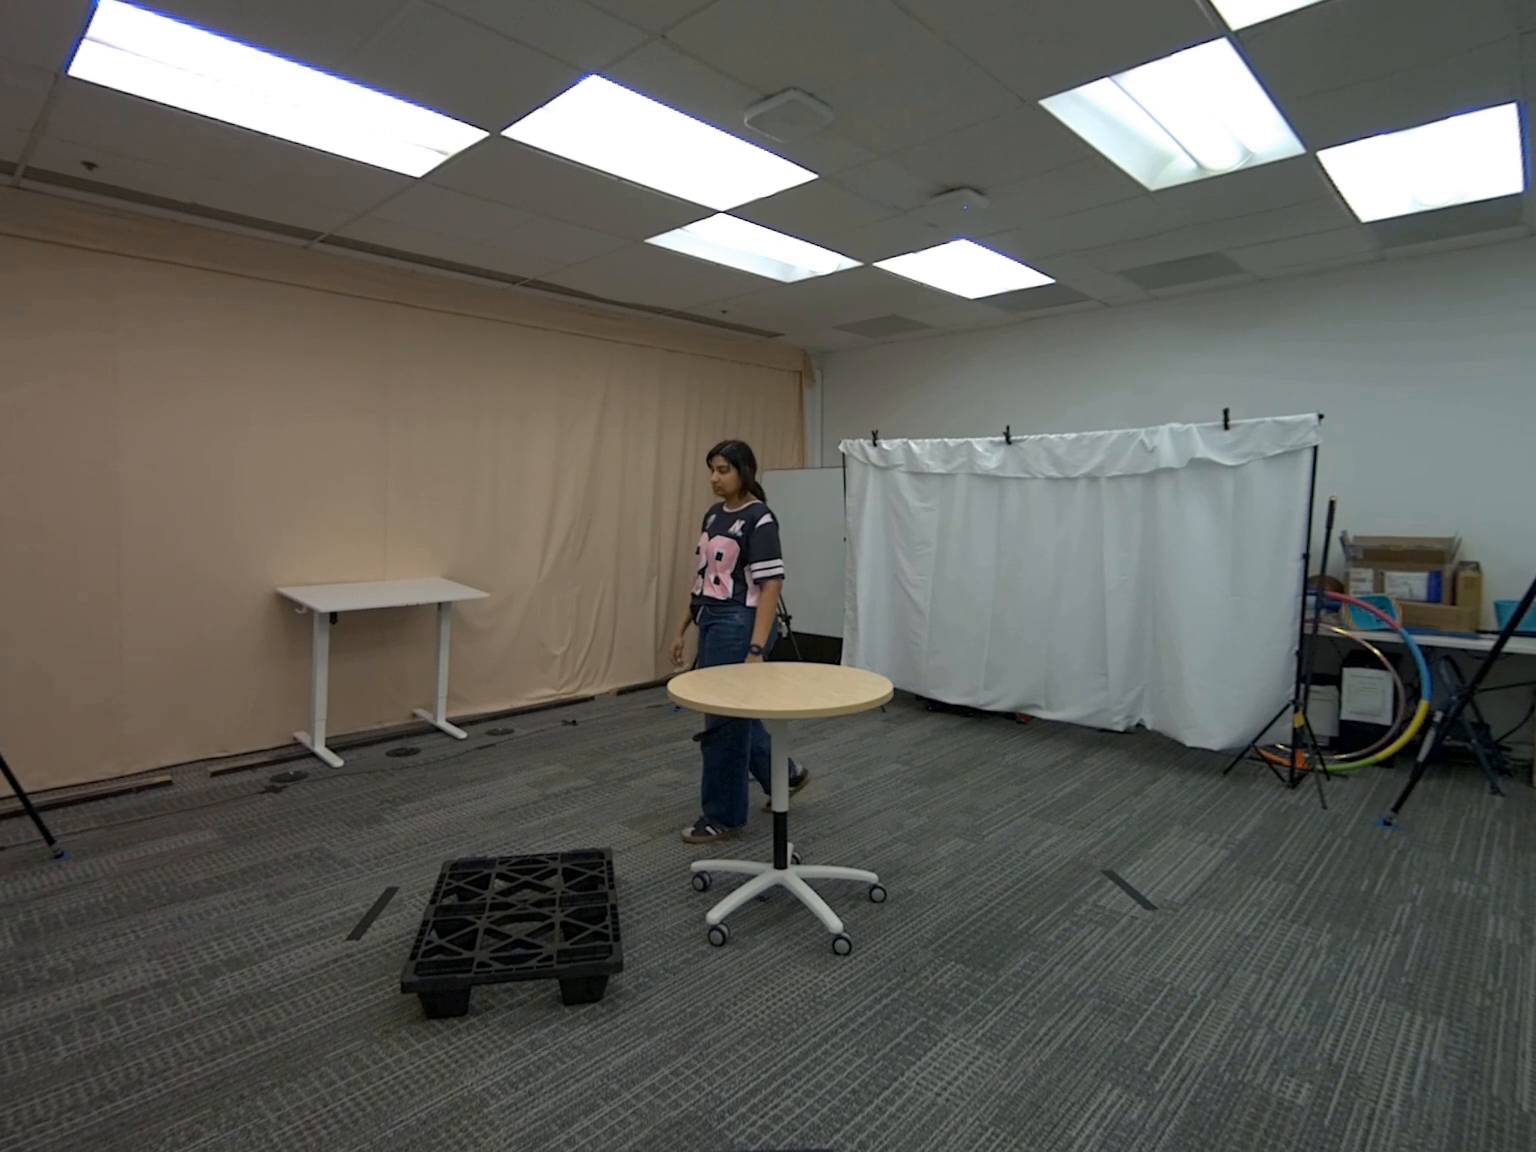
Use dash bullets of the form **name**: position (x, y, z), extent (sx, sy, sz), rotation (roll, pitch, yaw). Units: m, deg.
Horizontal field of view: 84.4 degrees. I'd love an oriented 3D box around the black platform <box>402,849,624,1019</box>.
- **black platform**: position (-0.779, 1.108, 2.683), extent (0.598, 0.143, 0.817), rotation (-1, 5, -12)
